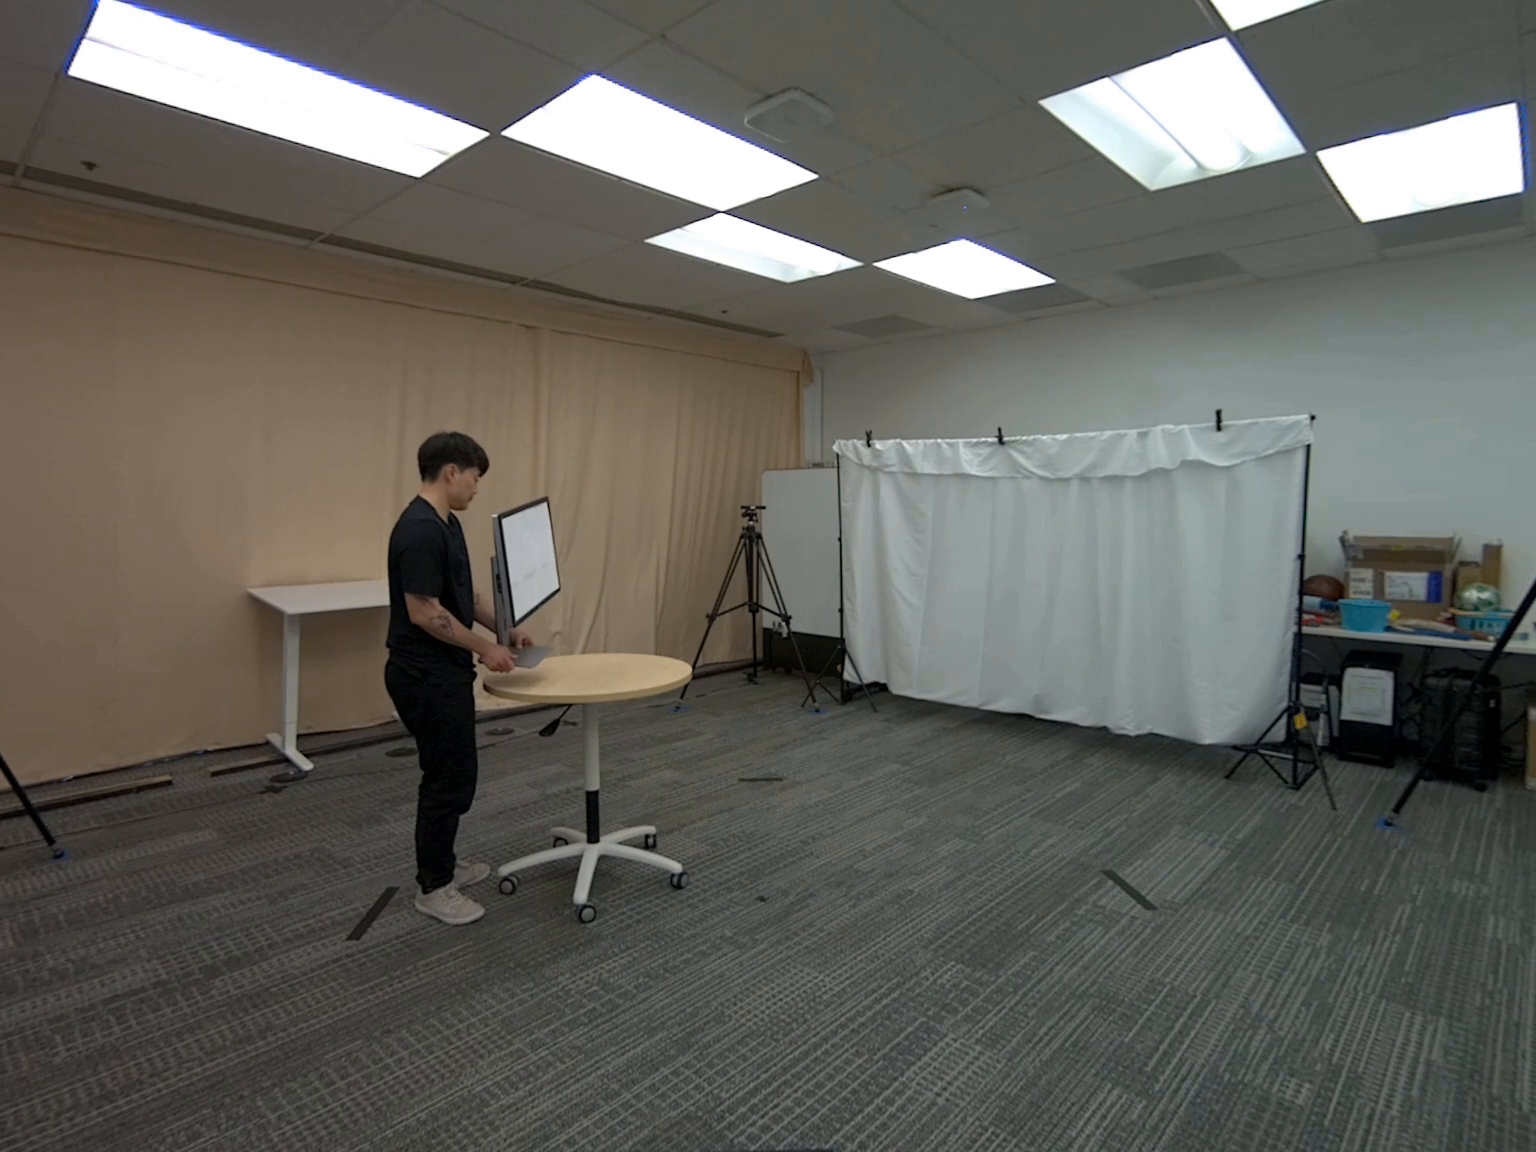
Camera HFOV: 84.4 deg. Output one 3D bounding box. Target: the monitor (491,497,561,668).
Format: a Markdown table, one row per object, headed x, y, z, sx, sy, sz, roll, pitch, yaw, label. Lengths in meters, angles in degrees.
| x | y | z | sx | sy | sz | roll | pitch | yaw | label |
| --- | --- | --- | --- | --- | --- | --- | --- | --- | --- |
| -0.861 | 0.020 | 2.900 | 0.187 | 0.520 | 0.542 | 5 | 10 | -2 | monitor |
